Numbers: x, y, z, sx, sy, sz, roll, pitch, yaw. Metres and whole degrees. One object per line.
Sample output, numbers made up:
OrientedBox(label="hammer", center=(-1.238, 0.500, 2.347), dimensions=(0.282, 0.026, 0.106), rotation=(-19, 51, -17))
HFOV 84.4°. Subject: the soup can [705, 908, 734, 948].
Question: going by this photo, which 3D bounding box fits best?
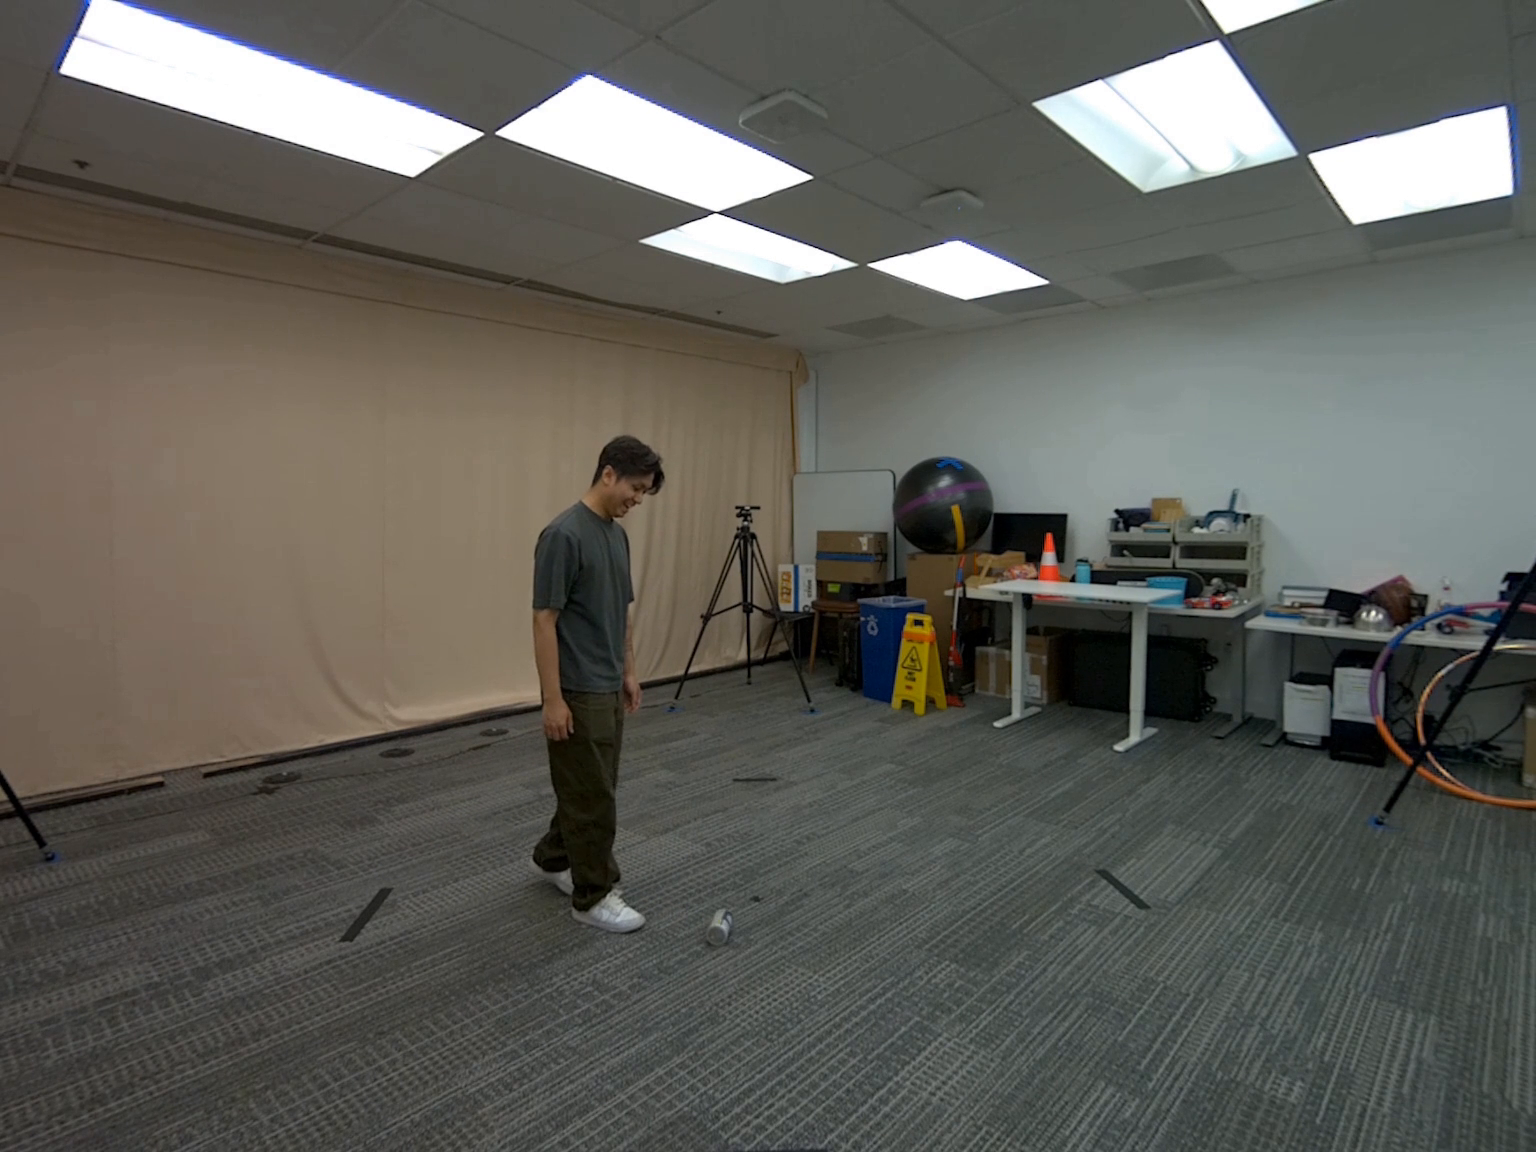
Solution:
OrientedBox(label="soup can", center=(-0.155, 1.134, 2.704), dimensions=(0.068, 0.067, 0.121), rotation=(0, 6, 6))
